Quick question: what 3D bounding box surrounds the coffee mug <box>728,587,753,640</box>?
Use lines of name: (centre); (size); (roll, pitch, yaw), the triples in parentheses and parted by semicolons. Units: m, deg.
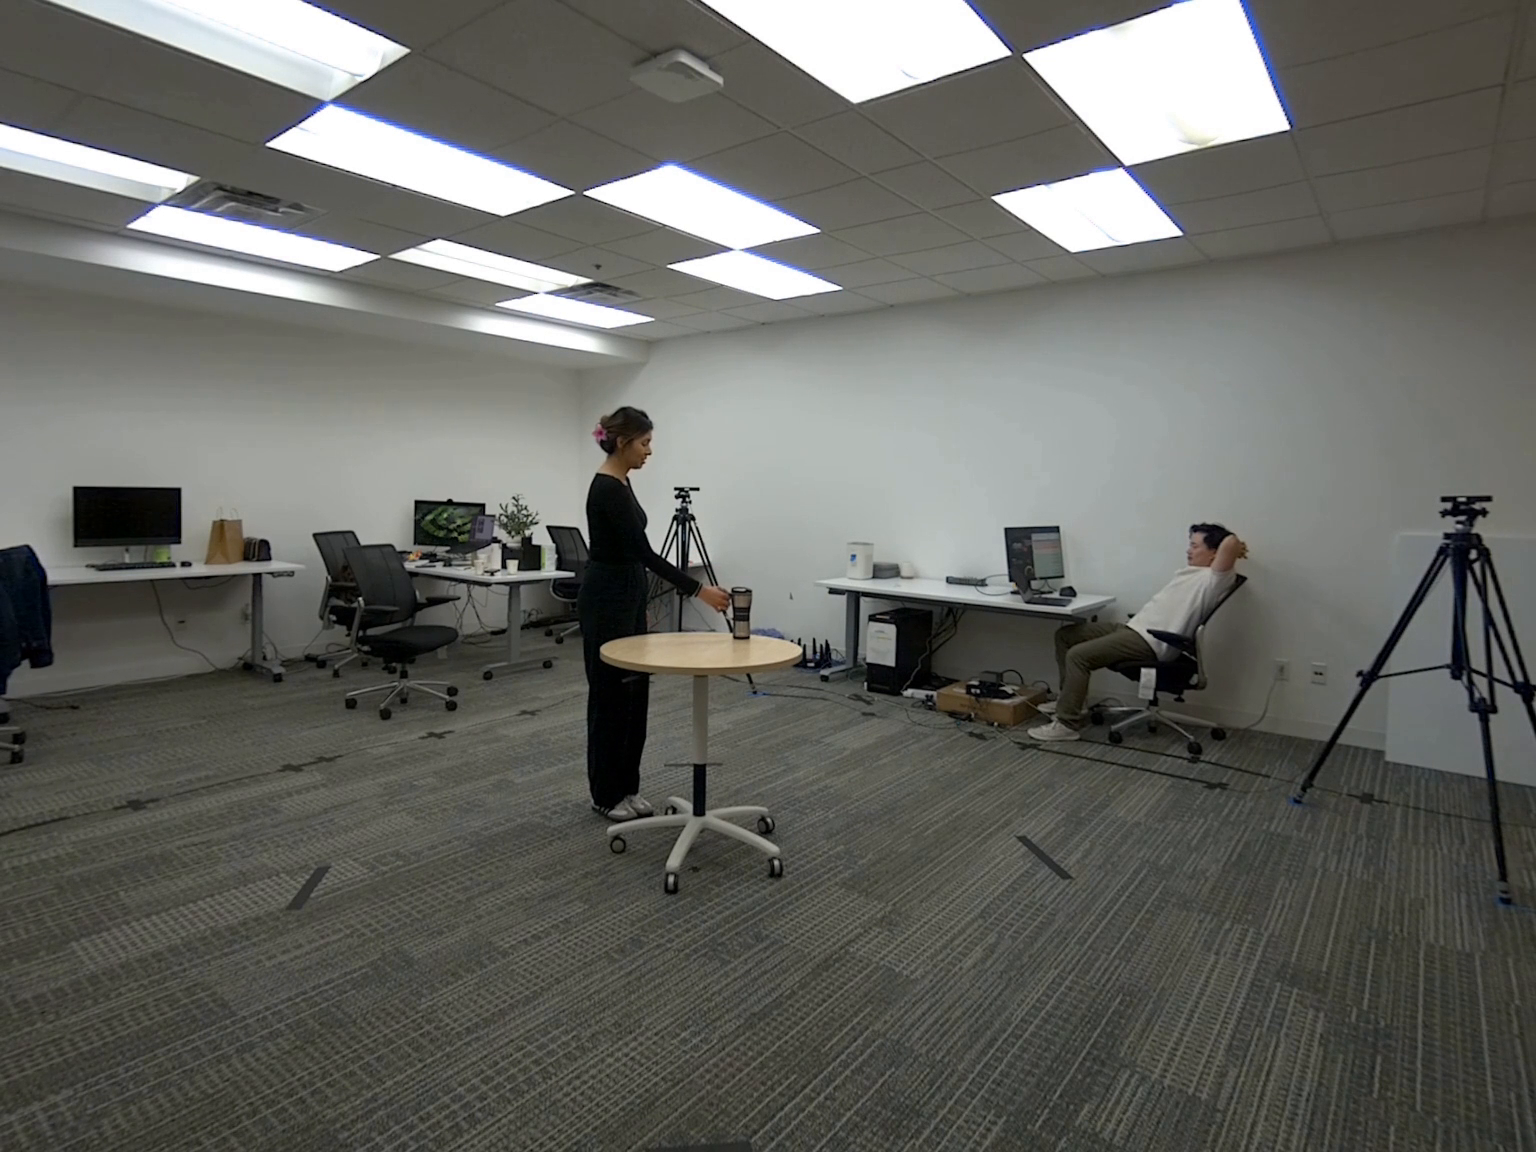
coffee mug: (-0.129, 0.149, 3.481); (0.126, 0.202, 0.085); (7, 9, 37)
